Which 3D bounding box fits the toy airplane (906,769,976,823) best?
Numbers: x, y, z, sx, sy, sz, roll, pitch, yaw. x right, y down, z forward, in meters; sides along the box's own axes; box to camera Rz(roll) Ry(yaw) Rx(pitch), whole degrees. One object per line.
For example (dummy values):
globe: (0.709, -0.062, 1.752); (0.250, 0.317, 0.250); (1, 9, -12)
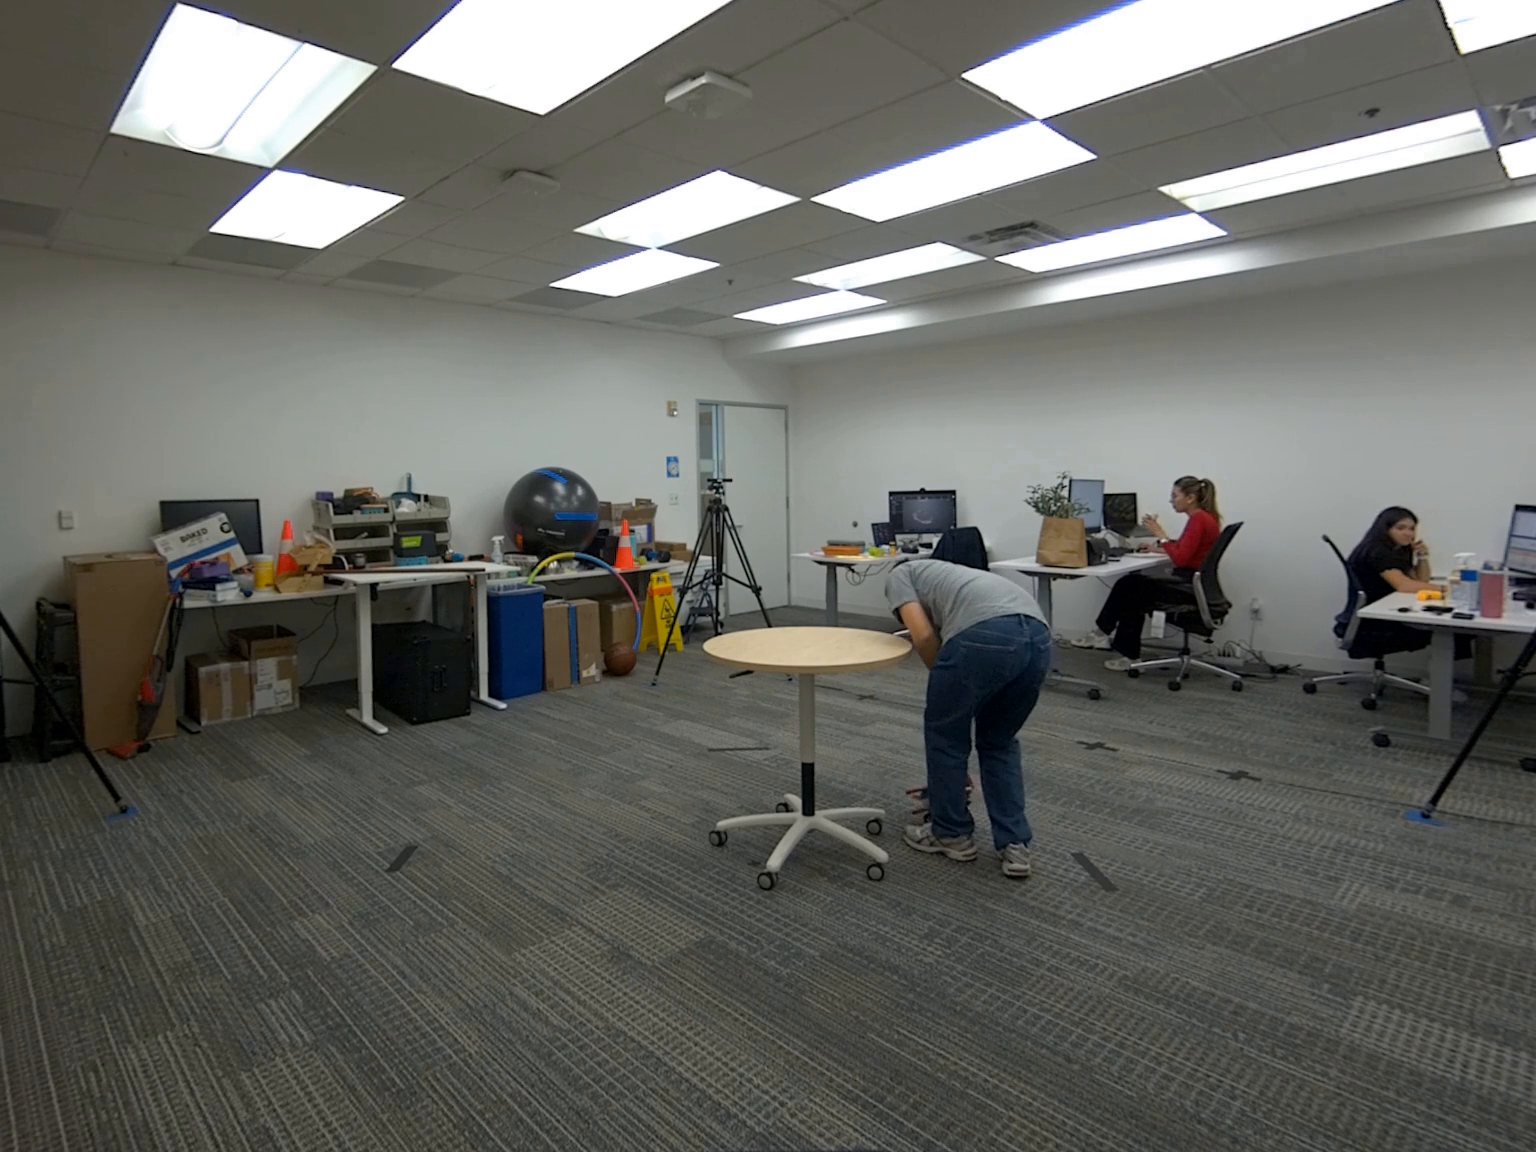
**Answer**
toy airplane: (0.717, 0.888, 3.411); (0.260, 0.161, 0.242); (-39, -34, 25)
